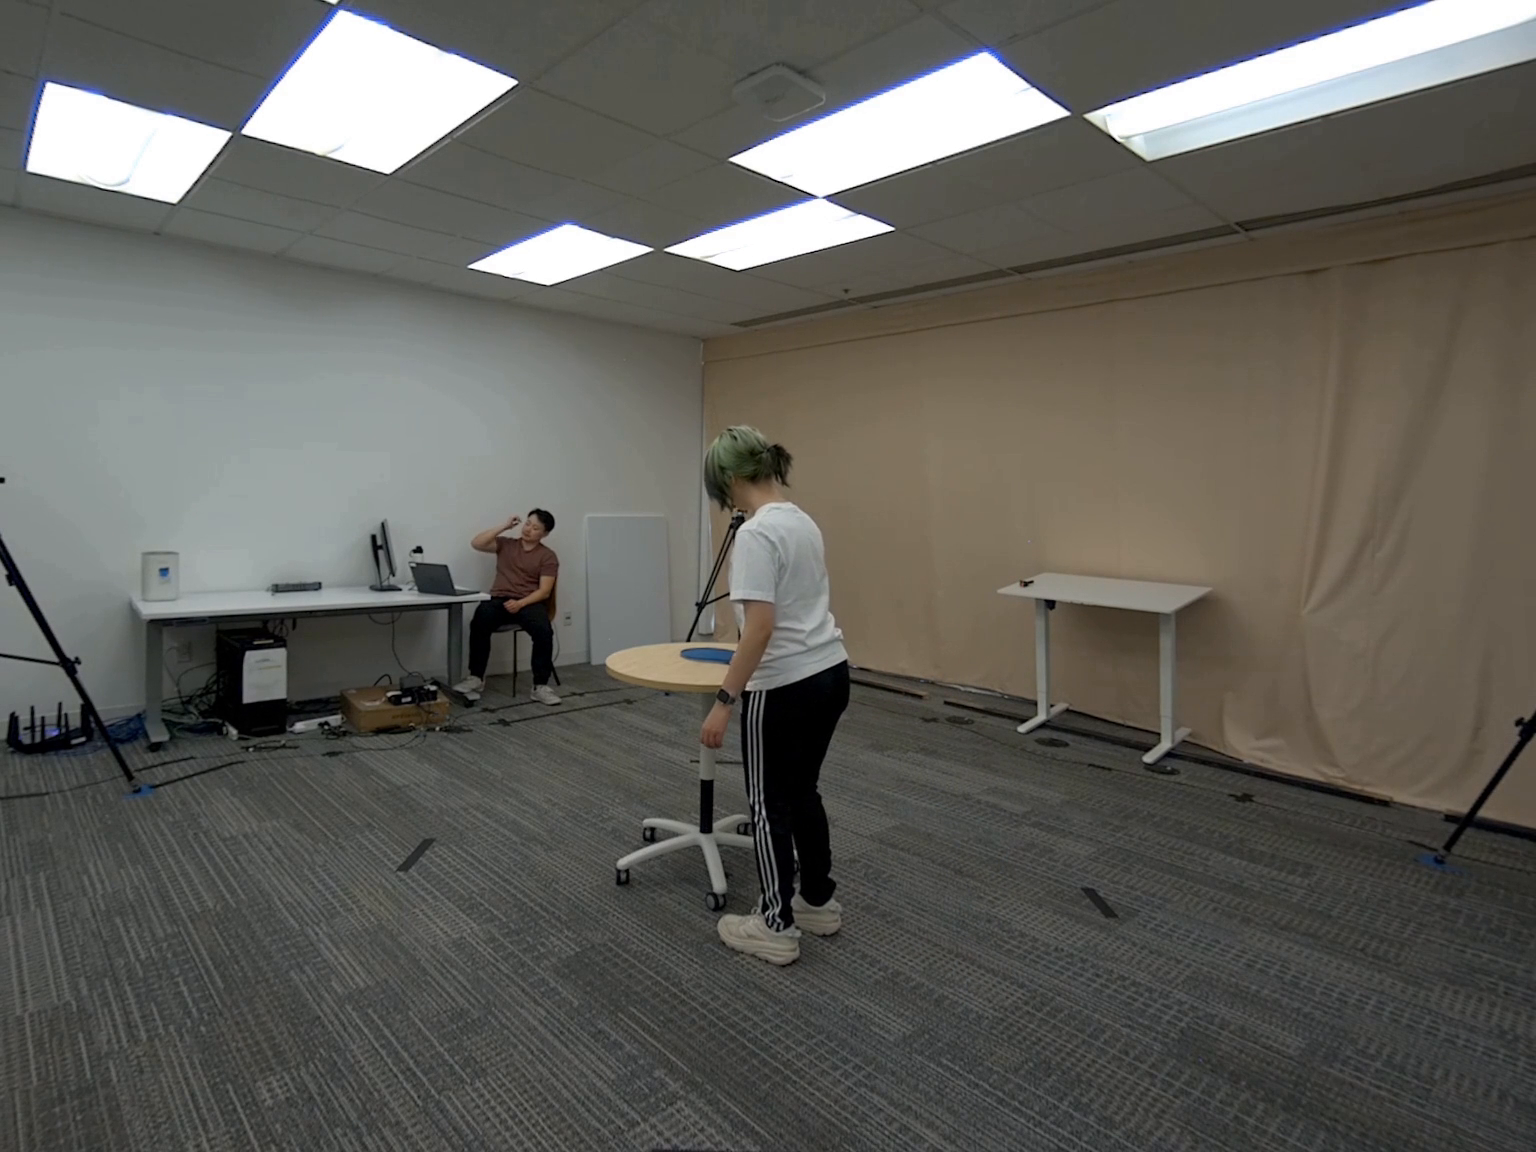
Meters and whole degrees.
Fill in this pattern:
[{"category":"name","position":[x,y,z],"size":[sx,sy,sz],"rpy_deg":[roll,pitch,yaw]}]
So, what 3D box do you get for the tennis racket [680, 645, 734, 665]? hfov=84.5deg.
[{"category":"tennis racket","position":[-0.186,0.307,3.136],"size":[0.209,0.031,0.443],"rpy_deg":[-2,5,-30]}]
